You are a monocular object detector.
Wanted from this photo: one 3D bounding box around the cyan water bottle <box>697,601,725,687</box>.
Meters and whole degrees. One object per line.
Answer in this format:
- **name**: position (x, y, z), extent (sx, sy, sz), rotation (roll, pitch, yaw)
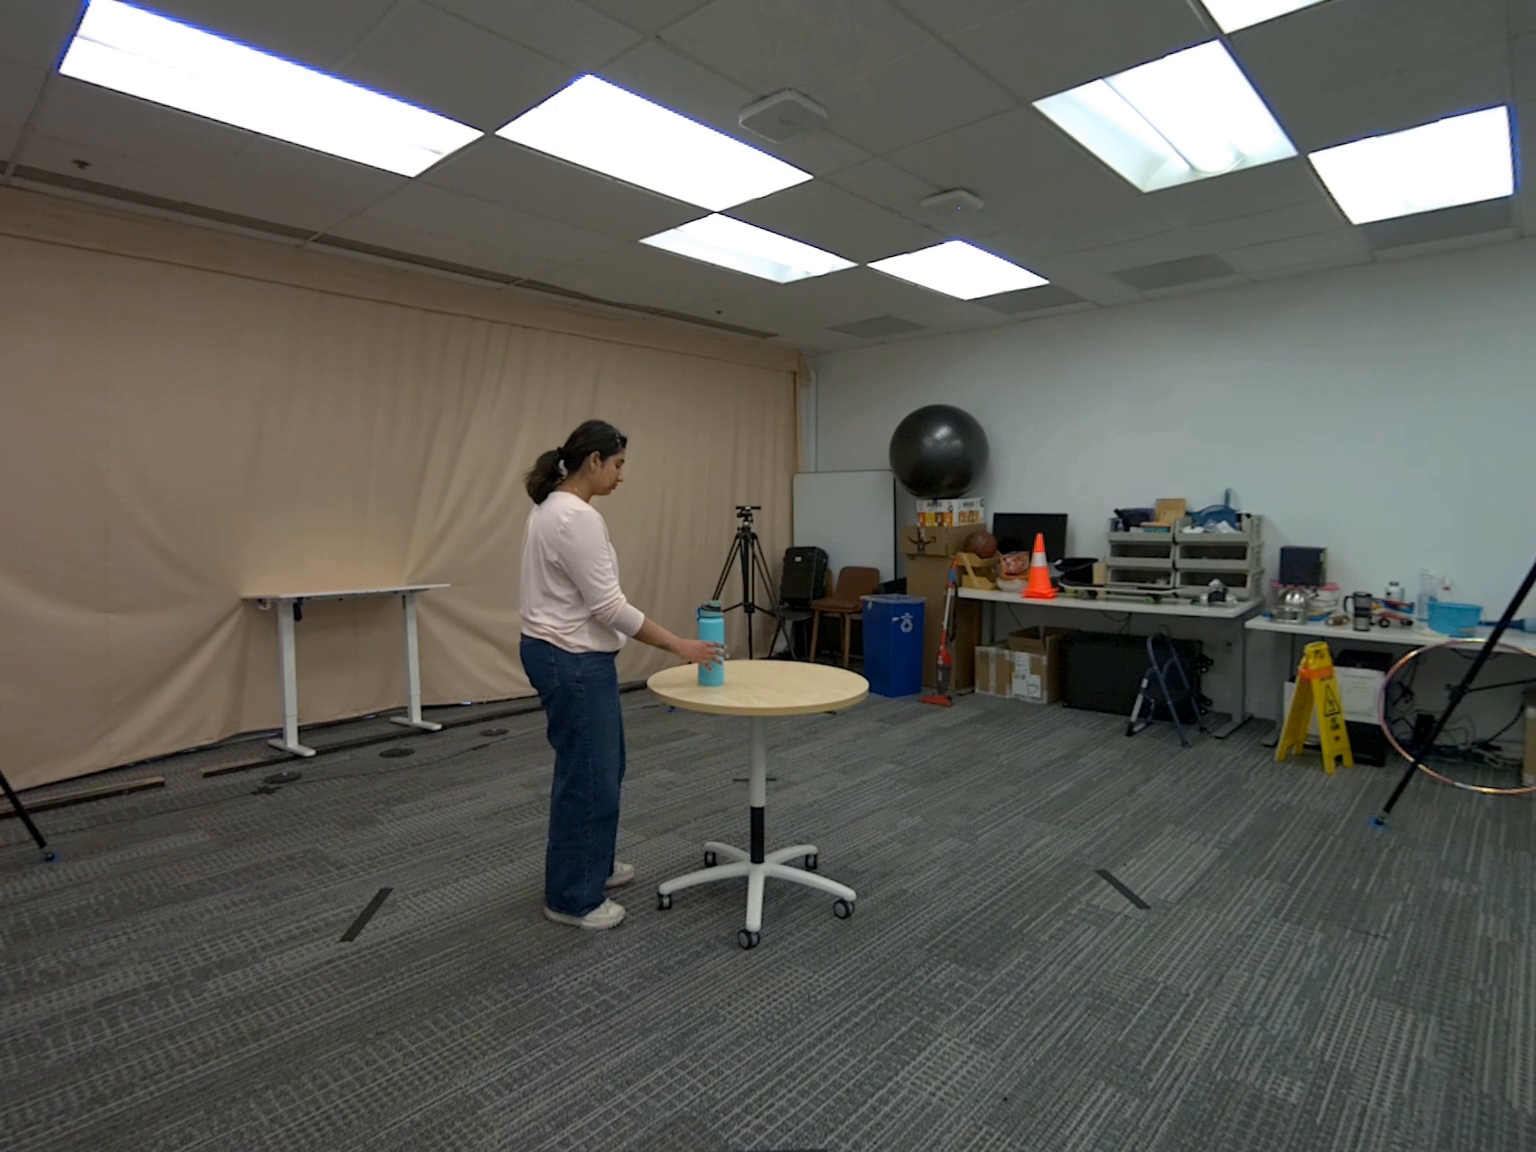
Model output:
- **cyan water bottle**: position (-0.198, 0.230, 2.871), extent (0.092, 0.283, 0.092), rotation (-1, 4, -2)
